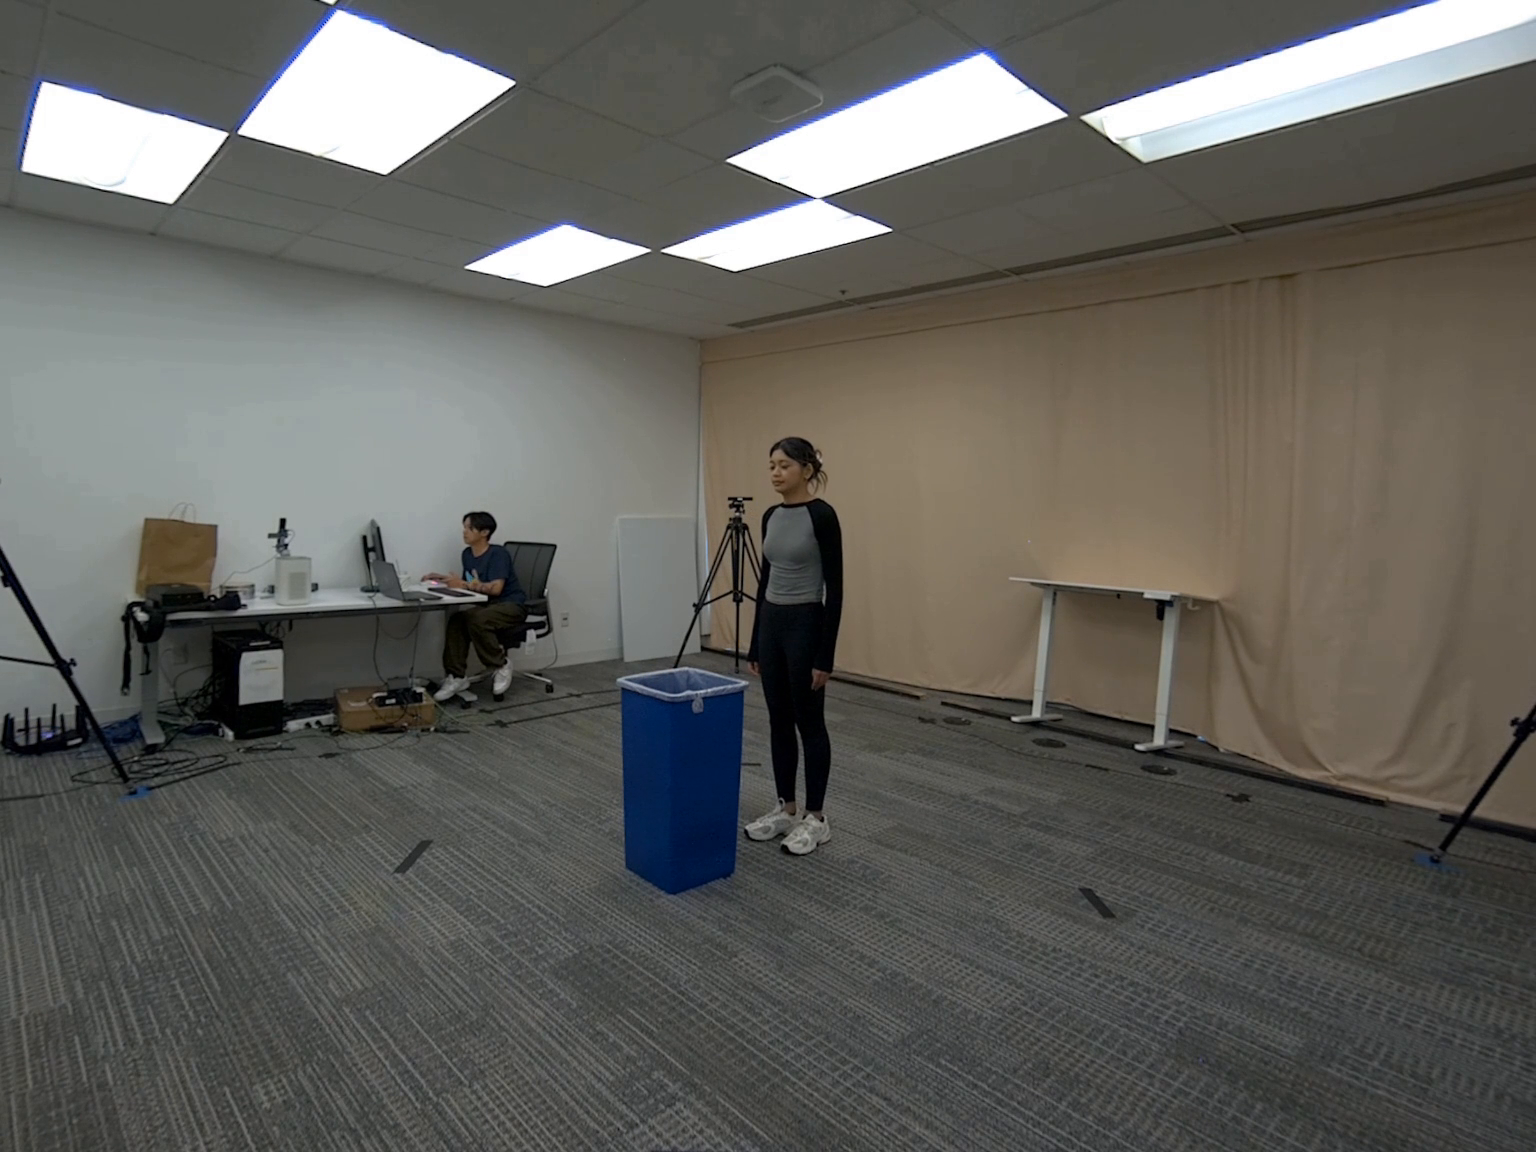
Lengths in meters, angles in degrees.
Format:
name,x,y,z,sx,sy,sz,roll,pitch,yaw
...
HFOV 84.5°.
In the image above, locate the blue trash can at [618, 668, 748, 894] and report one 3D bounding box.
name,x,y,z,sx,sy,sz,roll,pitch,yaw
blue trash can,-0.336,0.743,3.135,0.369,0.712,0.383,-1,4,-42
